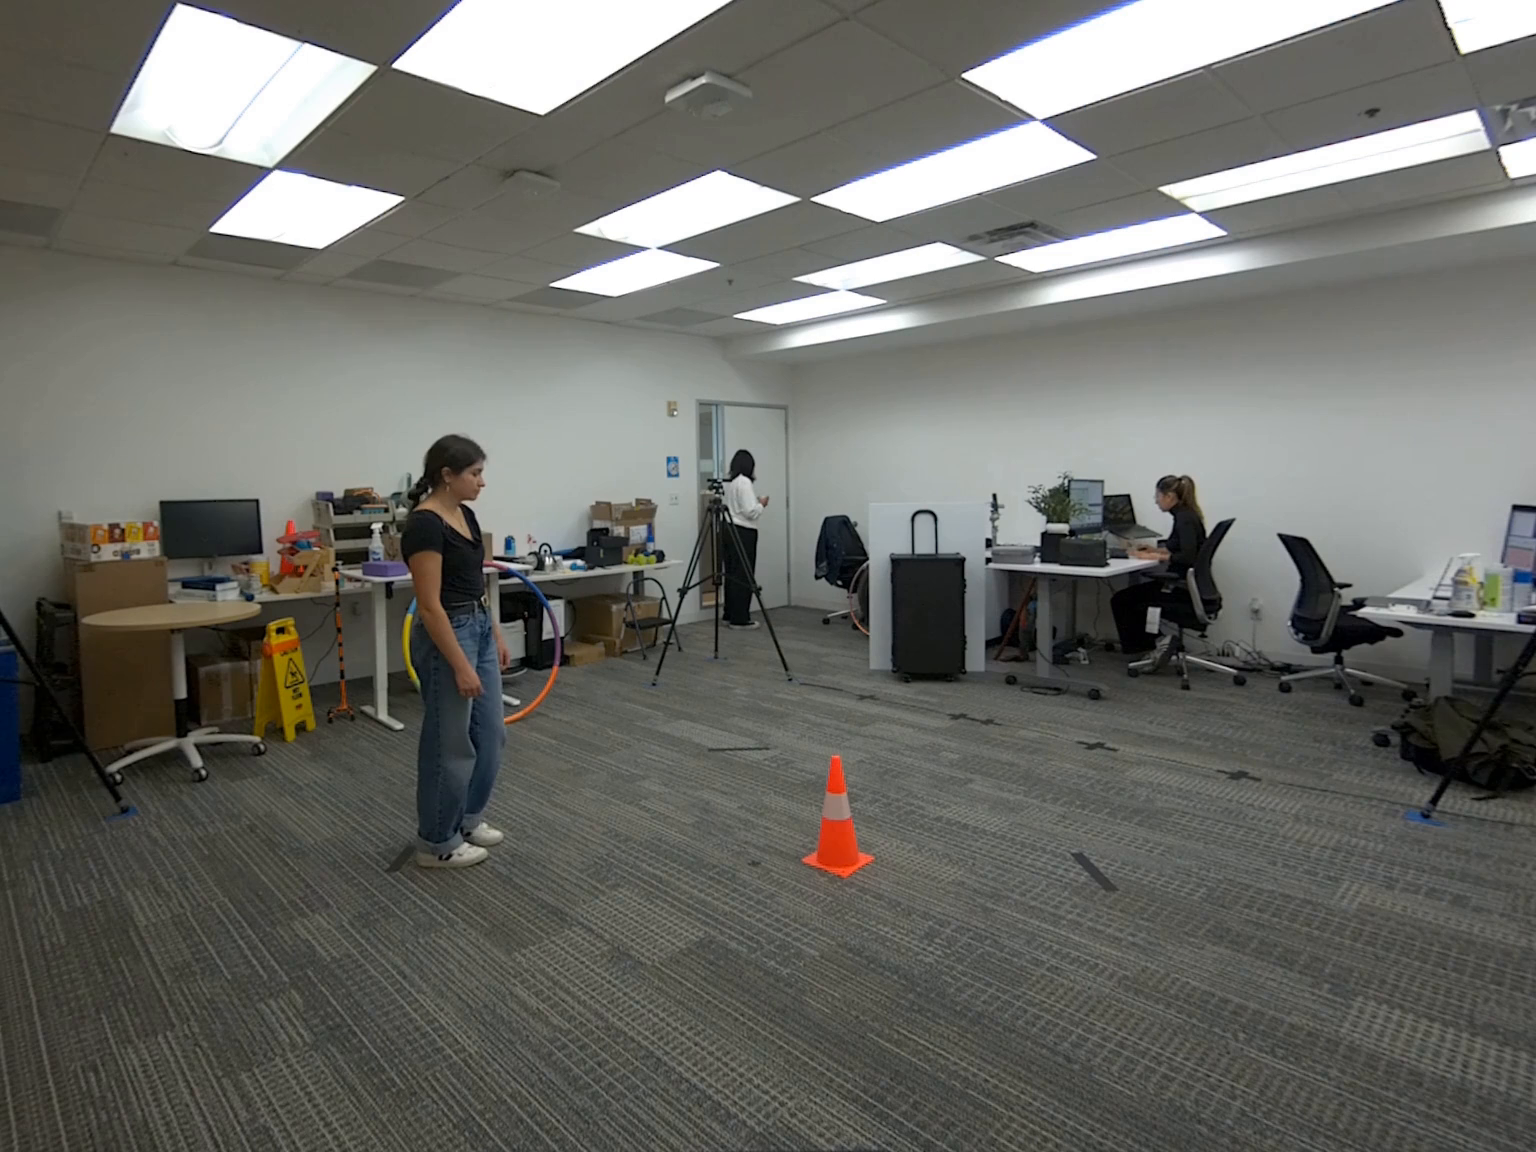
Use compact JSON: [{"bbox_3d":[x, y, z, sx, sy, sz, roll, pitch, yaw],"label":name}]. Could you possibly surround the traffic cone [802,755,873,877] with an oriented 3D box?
[{"bbox_3d":[0.250,0.851,3.110,0.211,0.382,0.198,2,6,38],"label":"traffic cone"}]
